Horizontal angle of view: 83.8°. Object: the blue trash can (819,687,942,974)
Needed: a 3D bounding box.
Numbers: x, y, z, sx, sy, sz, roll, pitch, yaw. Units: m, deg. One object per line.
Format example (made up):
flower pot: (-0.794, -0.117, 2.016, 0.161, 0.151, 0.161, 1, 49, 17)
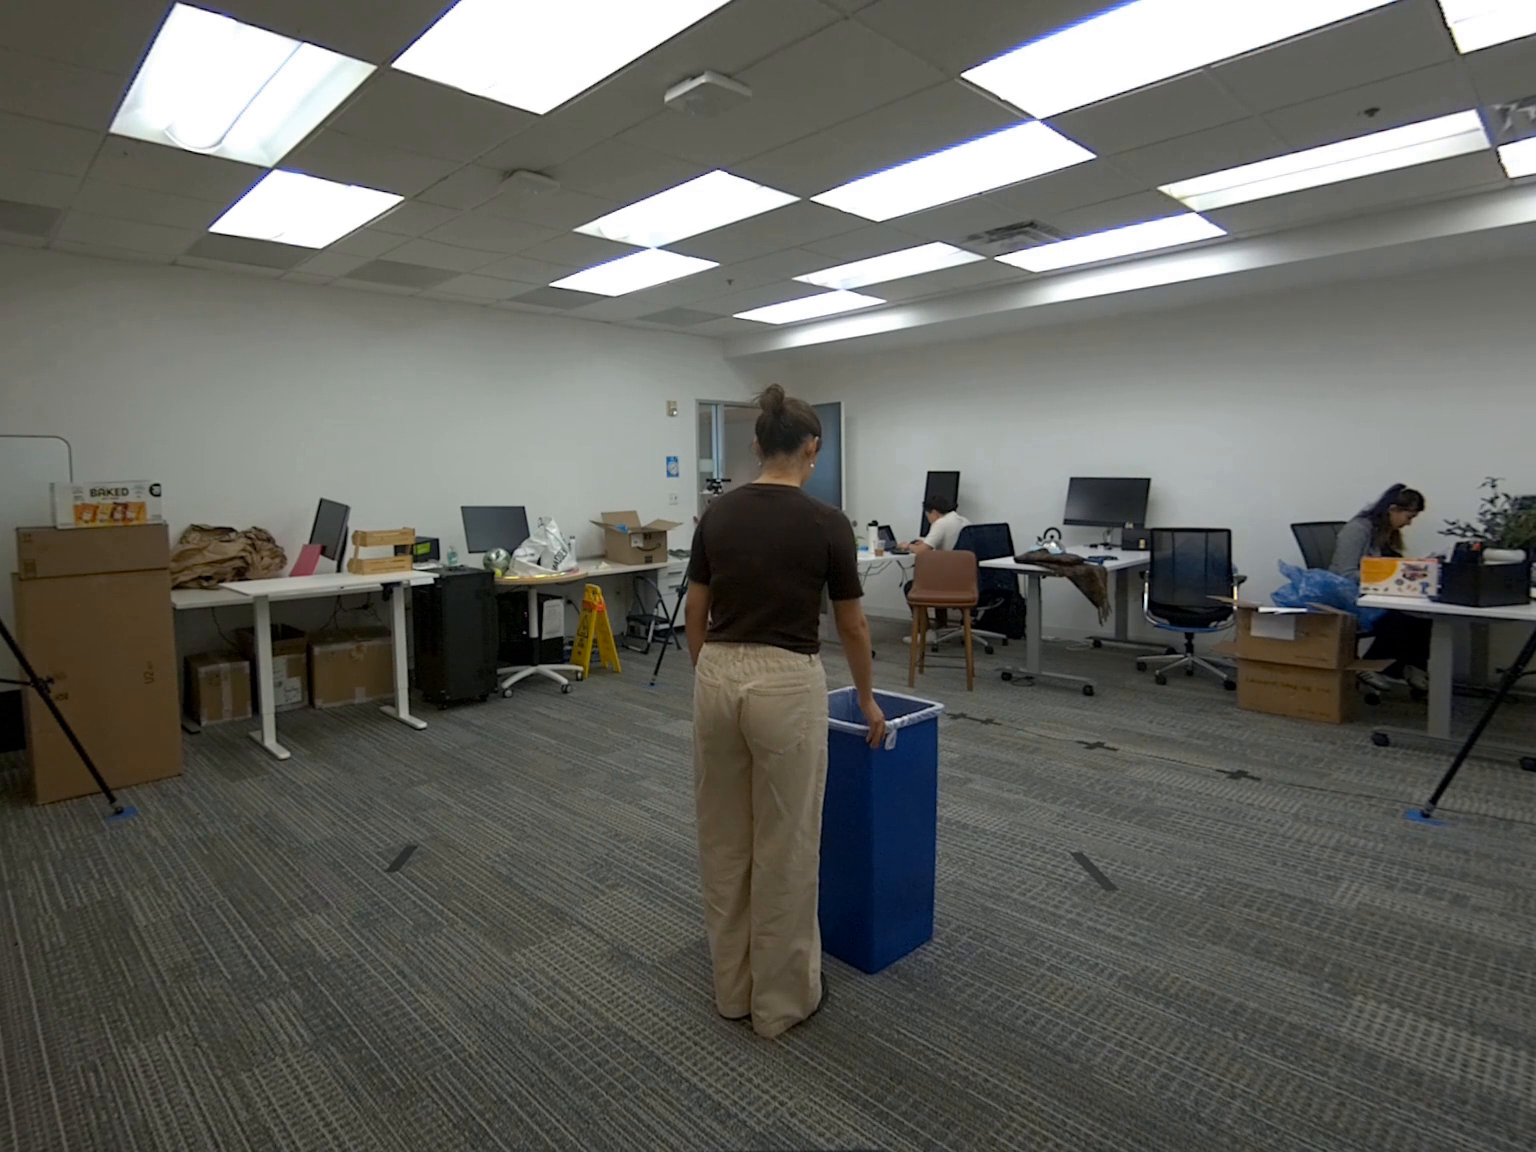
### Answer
blue trash can: (0.295, 0.740, 2.585, 0.364, 0.711, 0.389, -5, 5, -42)
